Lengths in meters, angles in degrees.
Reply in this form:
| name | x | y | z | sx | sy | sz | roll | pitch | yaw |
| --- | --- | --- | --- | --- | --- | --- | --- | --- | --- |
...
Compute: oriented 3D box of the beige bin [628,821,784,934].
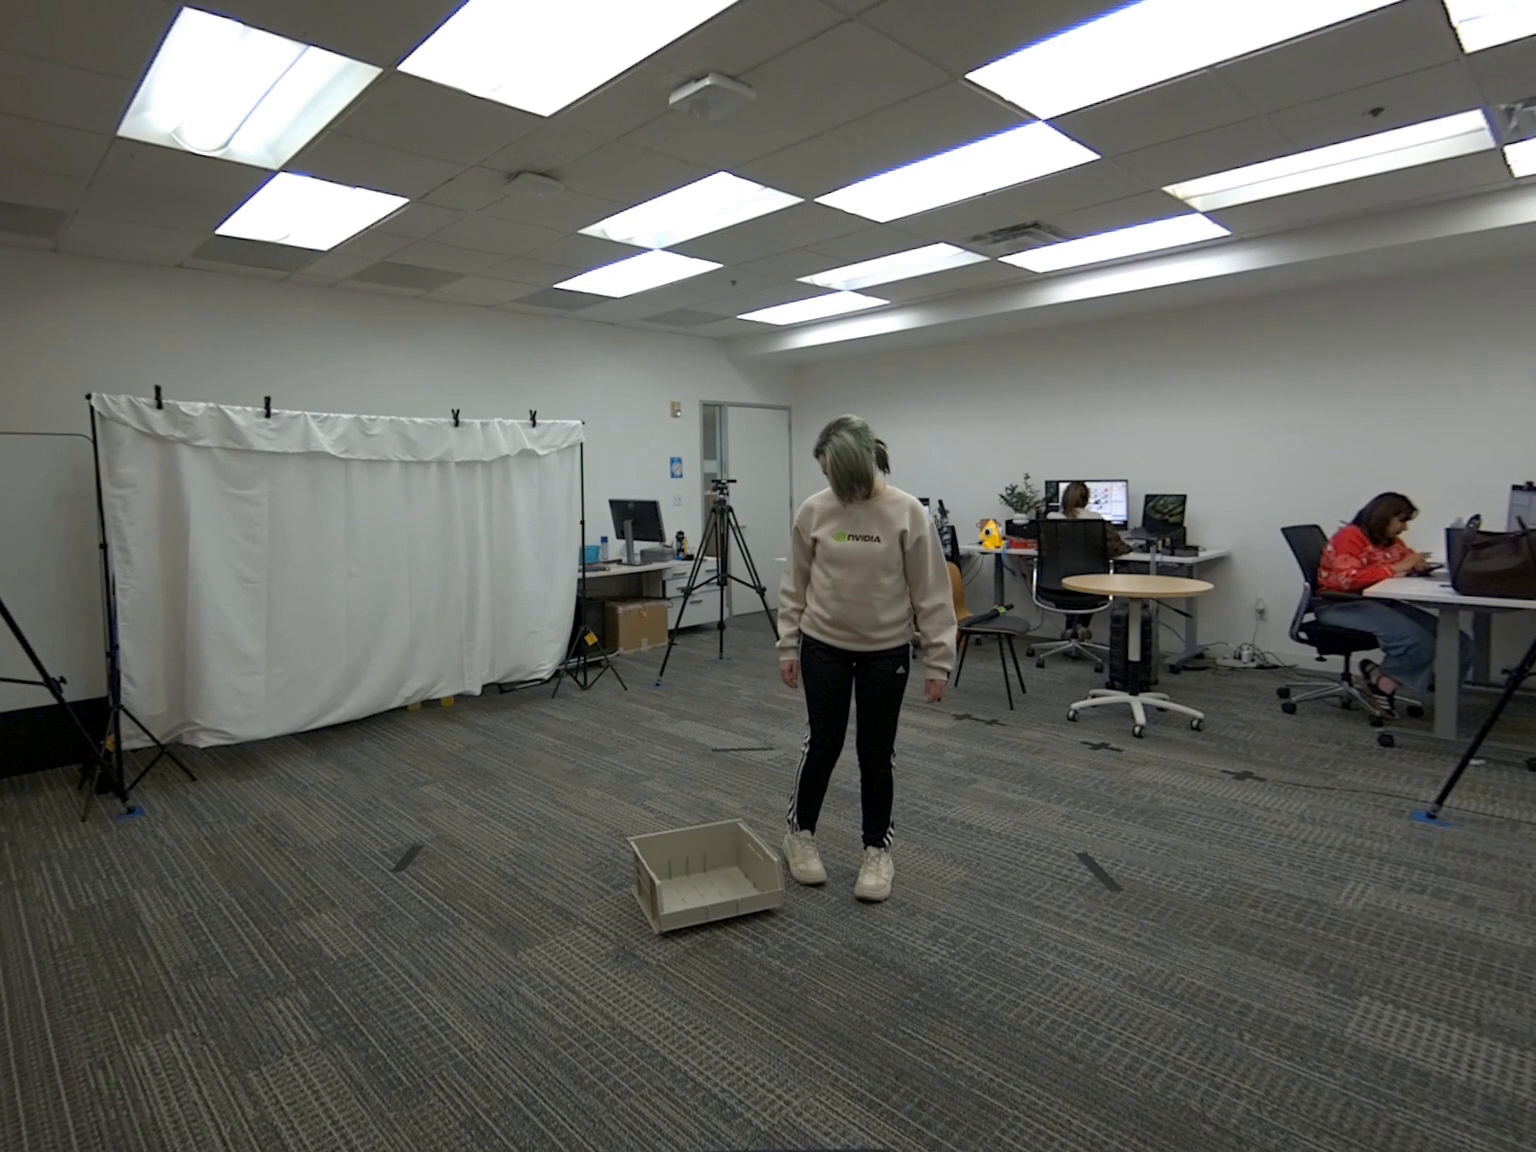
| name | x | y | z | sx | sy | sz | roll | pitch | yaw |
| --- | --- | --- | --- | --- | --- | --- | --- | --- | --- |
| beige bin | -0.206 | 0.993 | 2.821 | 0.414 | 0.188 | 0.386 | -5 | 6 | -22 |
